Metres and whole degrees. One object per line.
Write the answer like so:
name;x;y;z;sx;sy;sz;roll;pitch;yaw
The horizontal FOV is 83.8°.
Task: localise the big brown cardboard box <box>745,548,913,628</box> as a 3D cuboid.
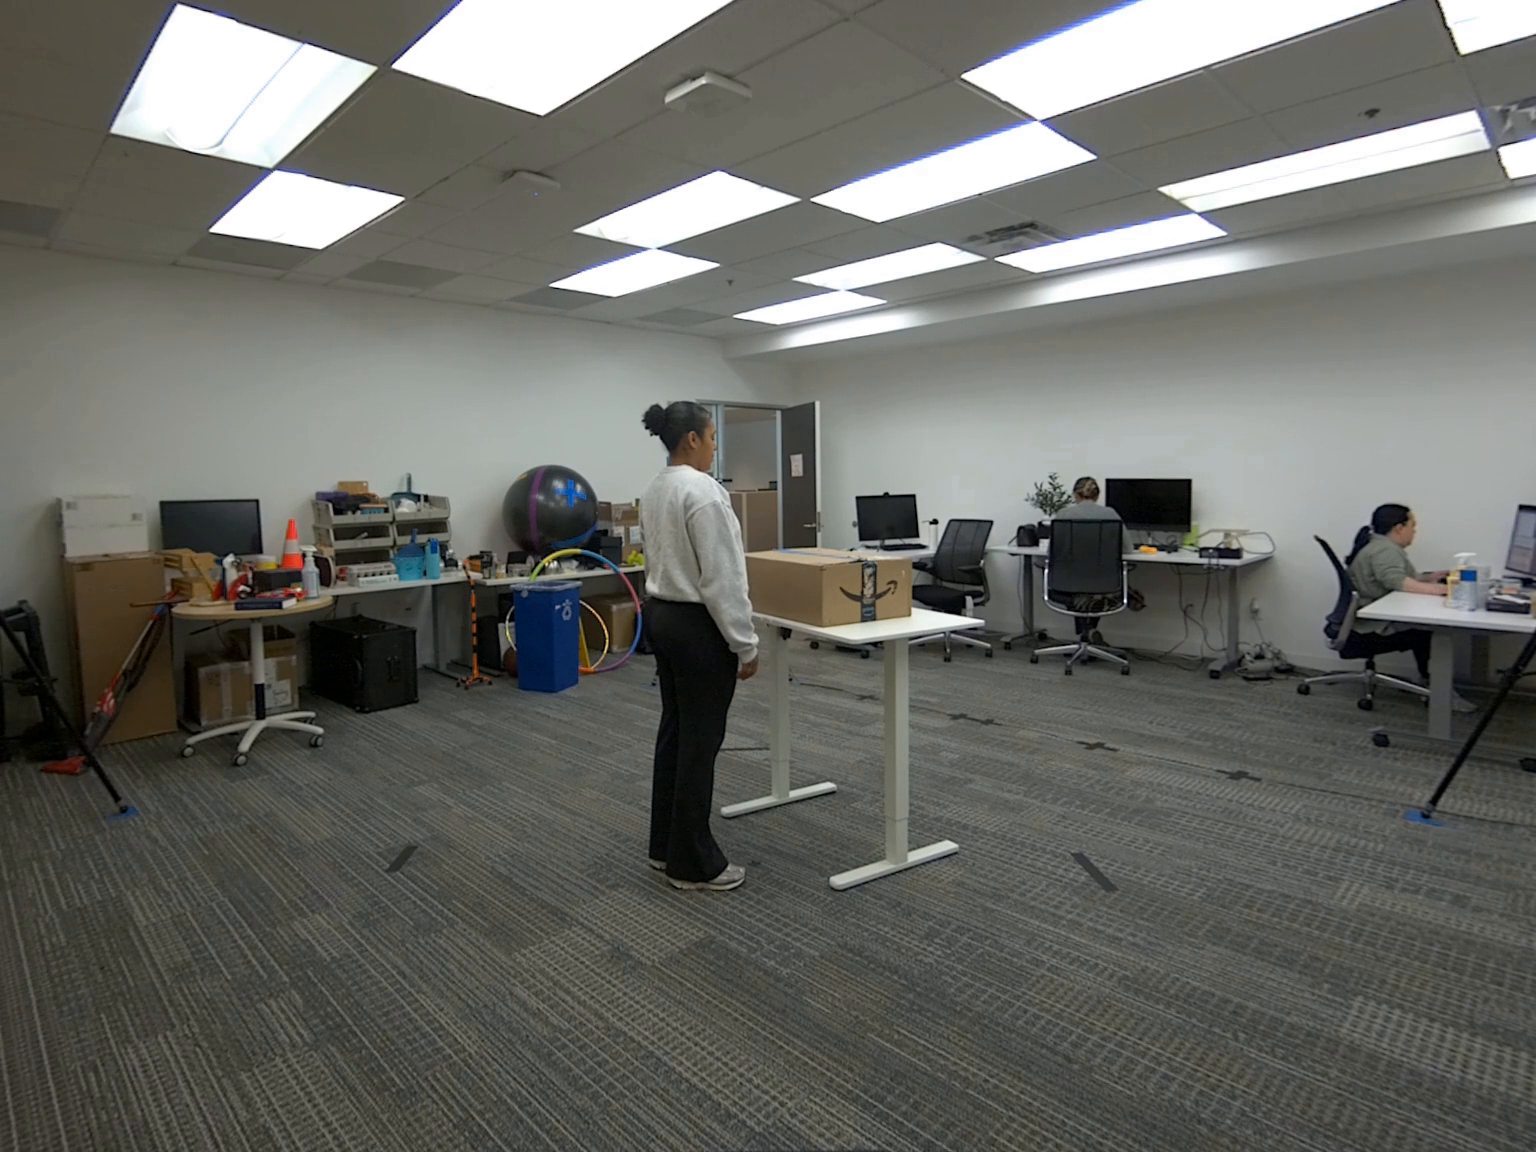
big brown cardboard box;0.205;0.029;3.274;0.407;0.232;0.606;-5;7;-32
